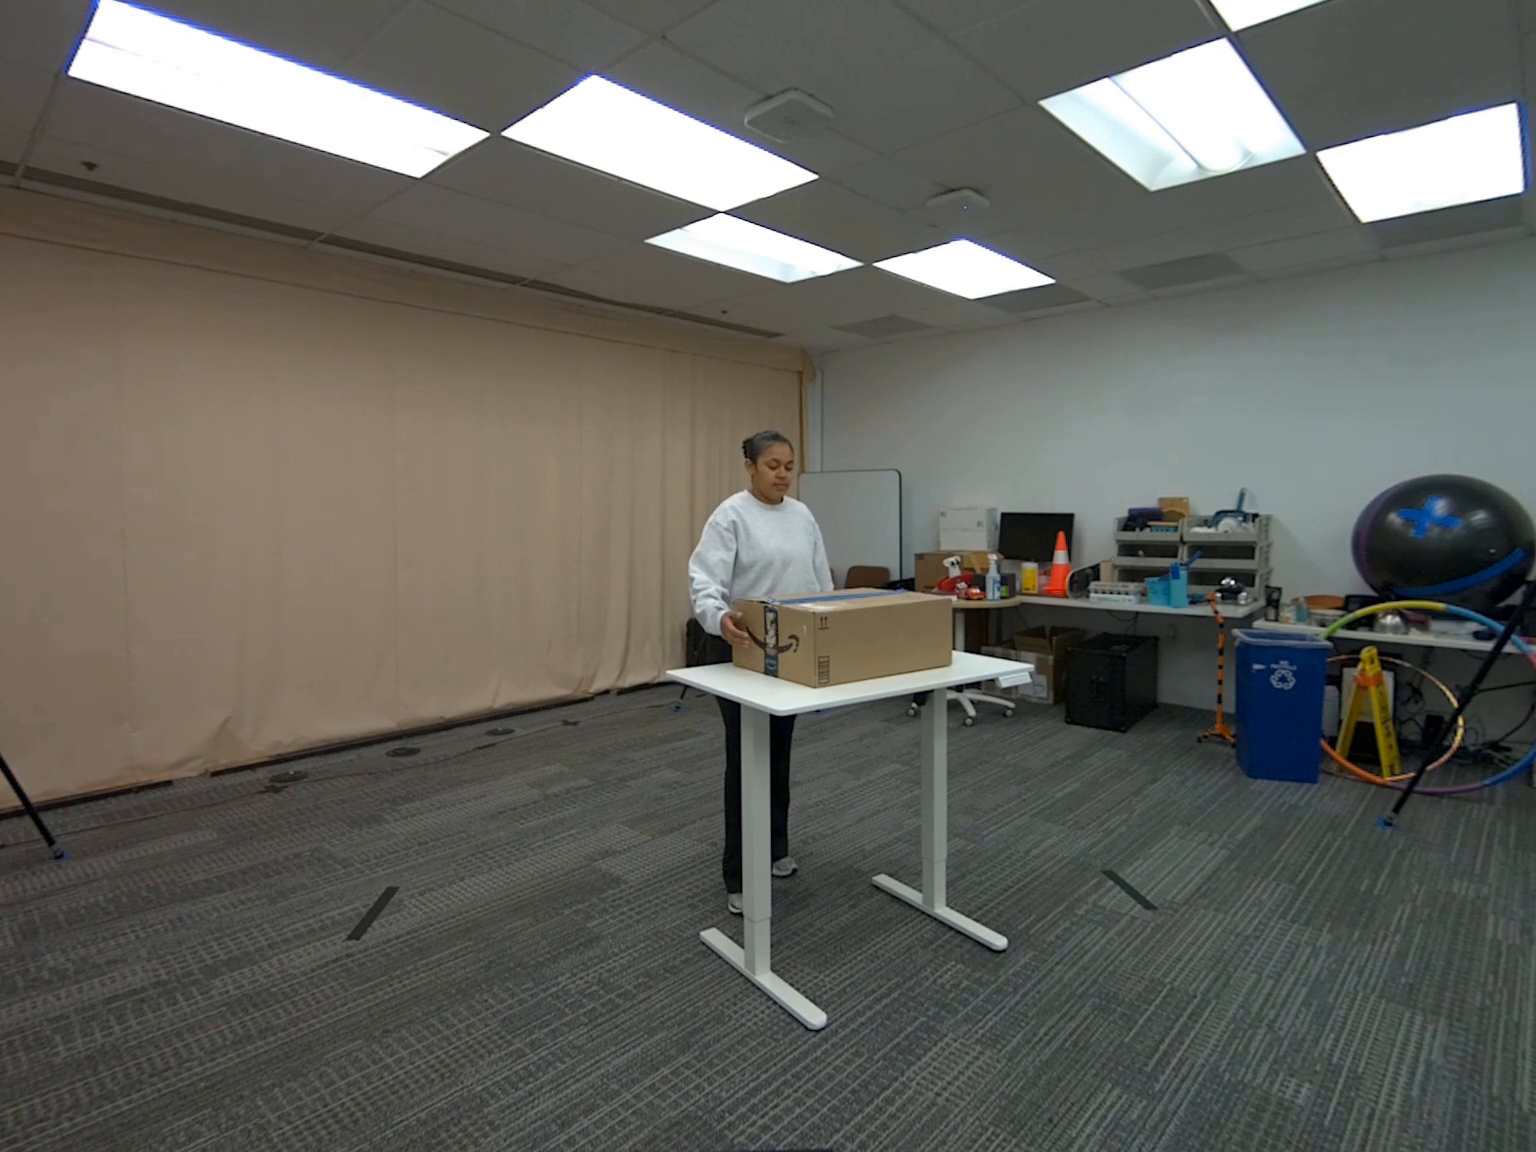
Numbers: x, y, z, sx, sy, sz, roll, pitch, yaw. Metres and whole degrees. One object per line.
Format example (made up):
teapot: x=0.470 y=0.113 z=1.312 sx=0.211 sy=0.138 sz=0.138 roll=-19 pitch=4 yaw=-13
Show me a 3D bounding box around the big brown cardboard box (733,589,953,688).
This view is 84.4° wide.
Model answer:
big brown cardboard box: x=0.235 y=0.177 z=2.665 sx=0.572 sy=0.233 sz=0.431 roll=-2 pitch=5 yaw=-34
